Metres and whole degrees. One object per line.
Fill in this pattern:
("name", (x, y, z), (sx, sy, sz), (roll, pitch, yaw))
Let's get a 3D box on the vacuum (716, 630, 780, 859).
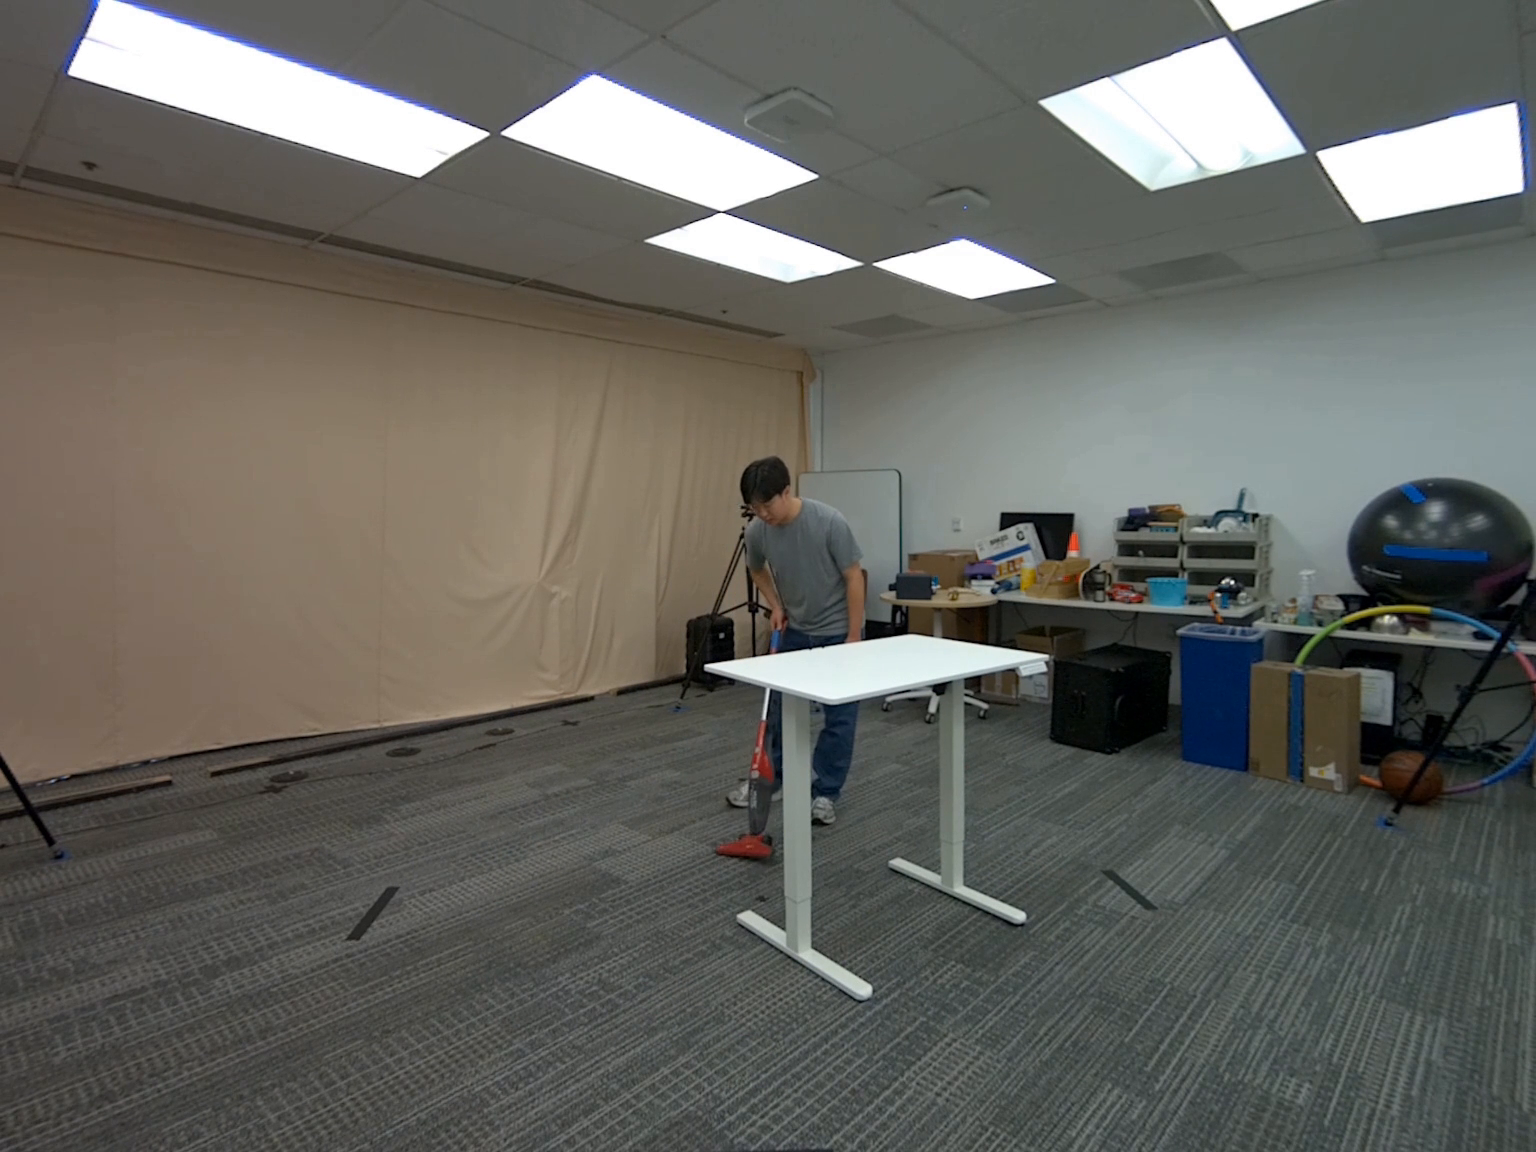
("vacuum", (-0.005, 0.650, 3.624), (0.259, 1.061, 0.139), (-7, -33, 27))
